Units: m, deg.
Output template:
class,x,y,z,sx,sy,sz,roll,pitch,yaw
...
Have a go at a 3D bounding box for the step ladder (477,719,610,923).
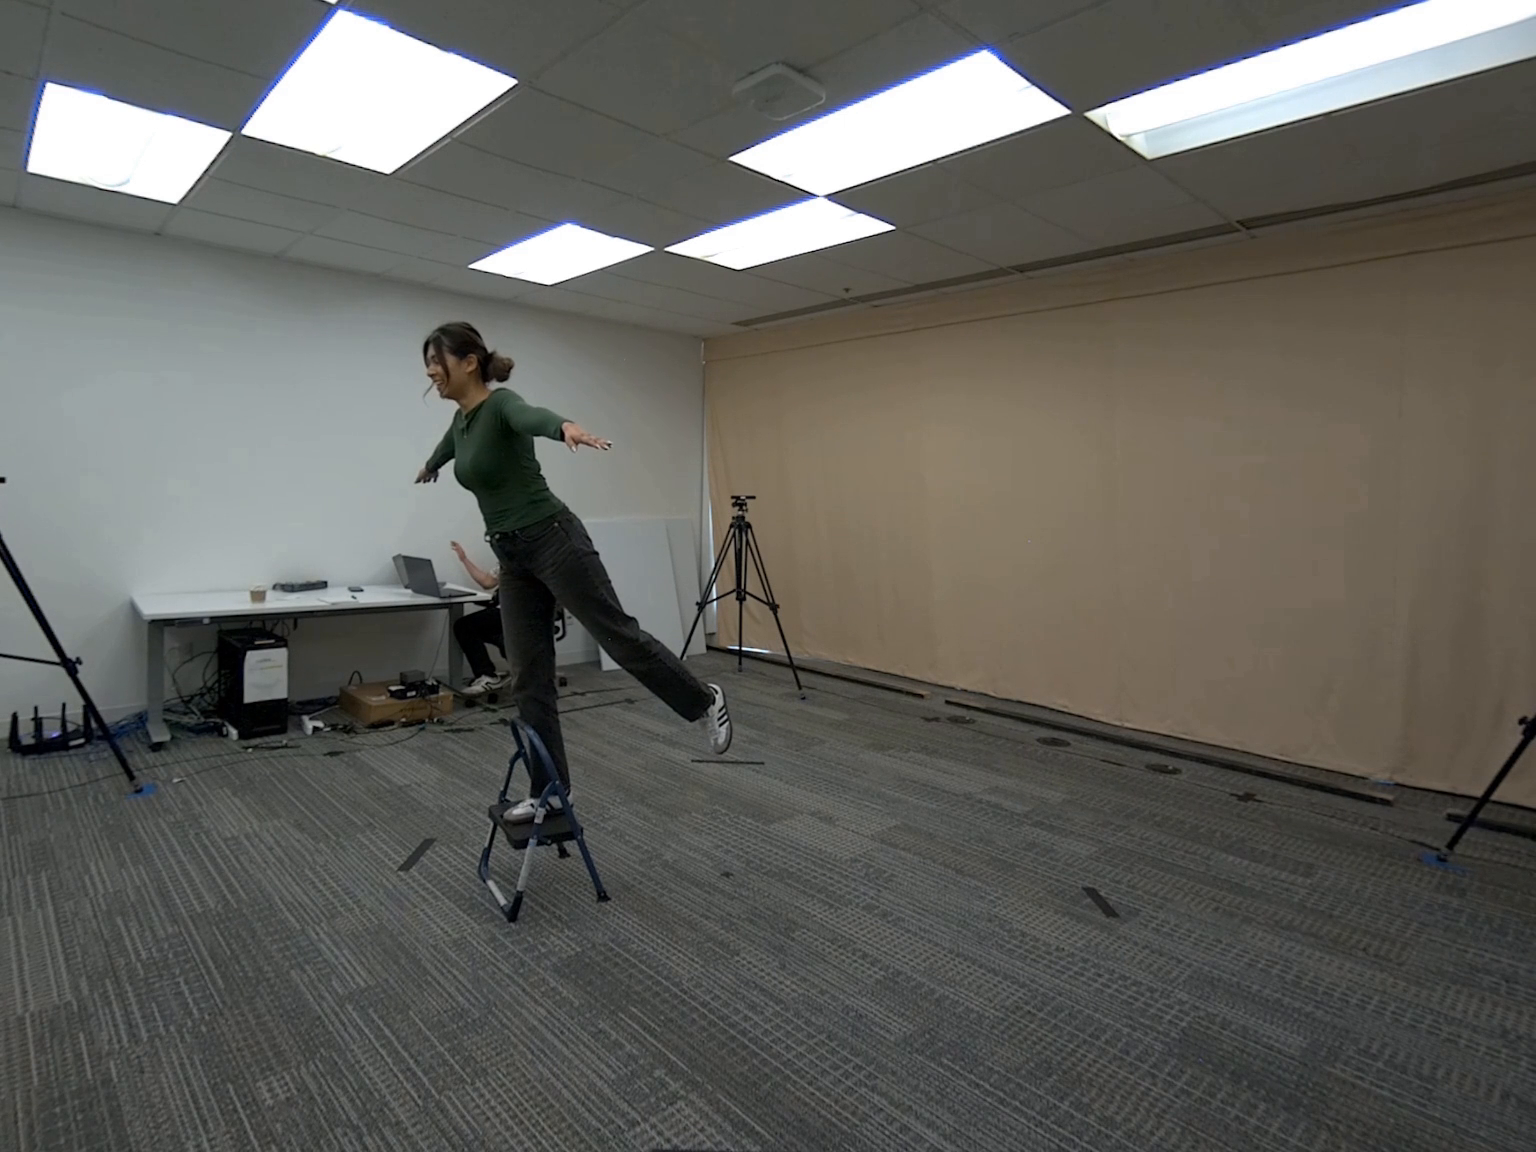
class,x,y,z,sx,sy,sz,roll,pitch,yaw
step ladder,-0.802,0.801,2.960,0.342,0.604,0.441,-1,4,-33
